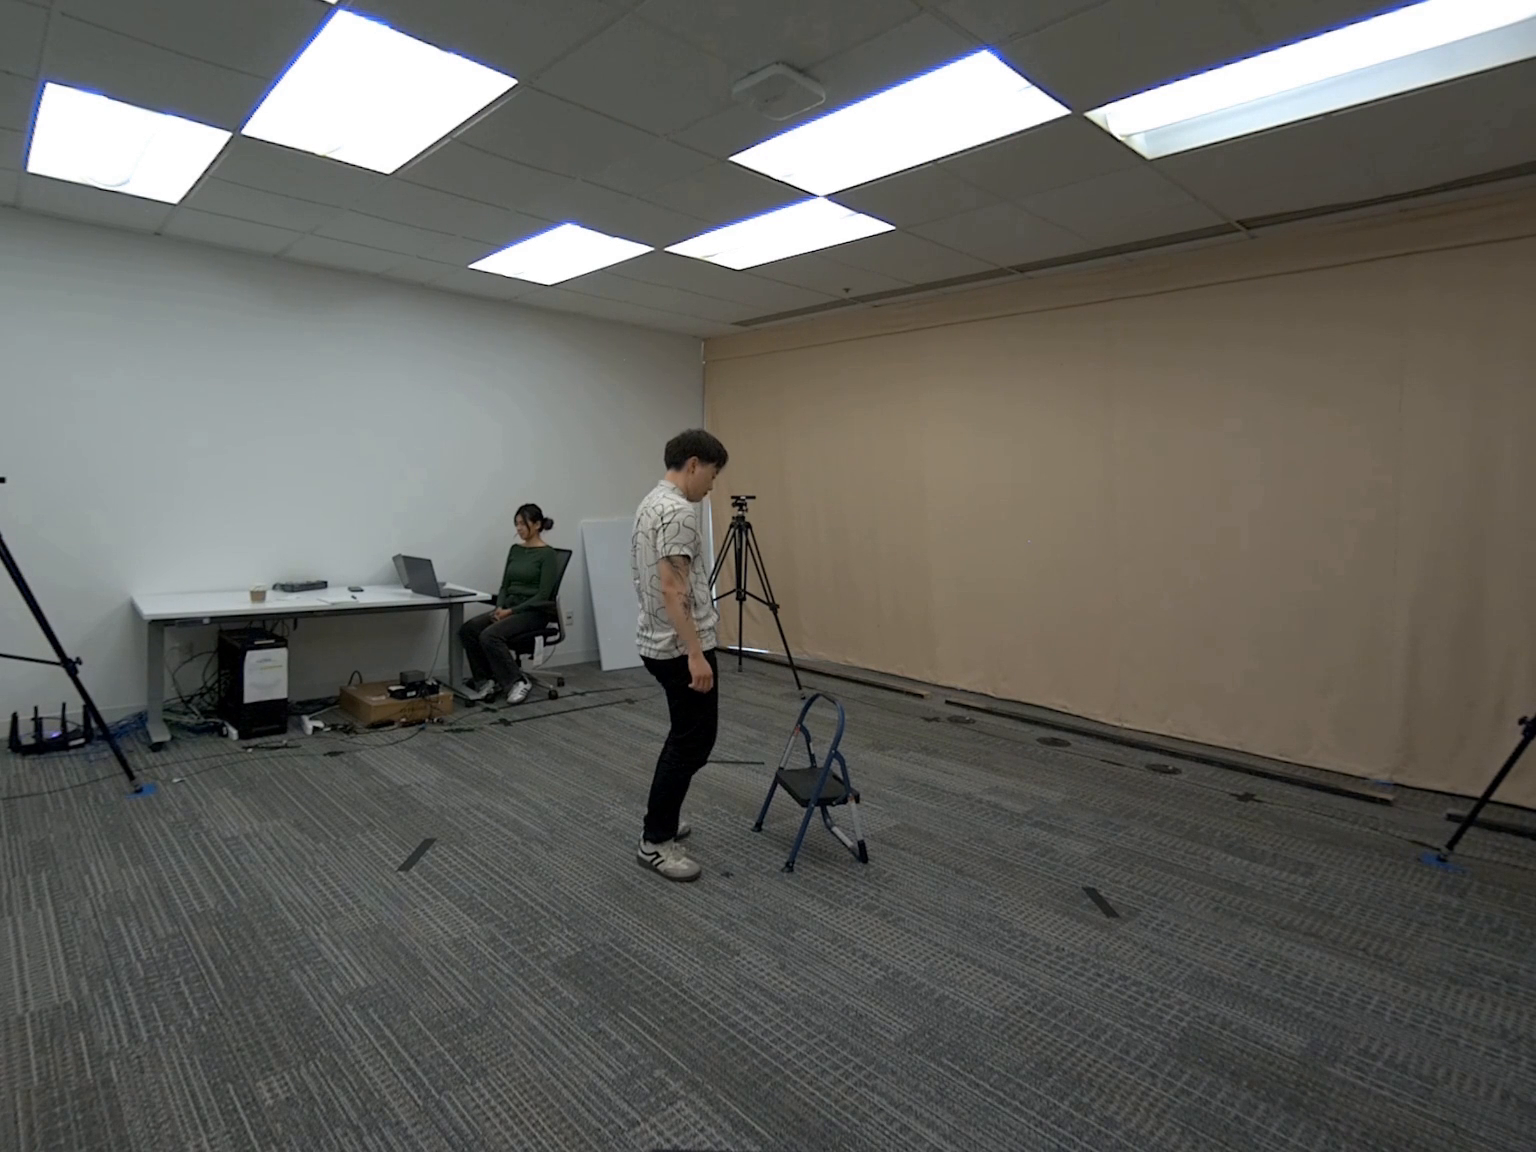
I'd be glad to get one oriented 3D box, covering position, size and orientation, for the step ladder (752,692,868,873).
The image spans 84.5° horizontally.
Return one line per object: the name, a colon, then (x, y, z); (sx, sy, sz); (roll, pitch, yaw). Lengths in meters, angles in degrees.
step ladder: (0.166, 0.785, 3.364); (0.345, 0.605, 0.437); (1, 4, -17)
